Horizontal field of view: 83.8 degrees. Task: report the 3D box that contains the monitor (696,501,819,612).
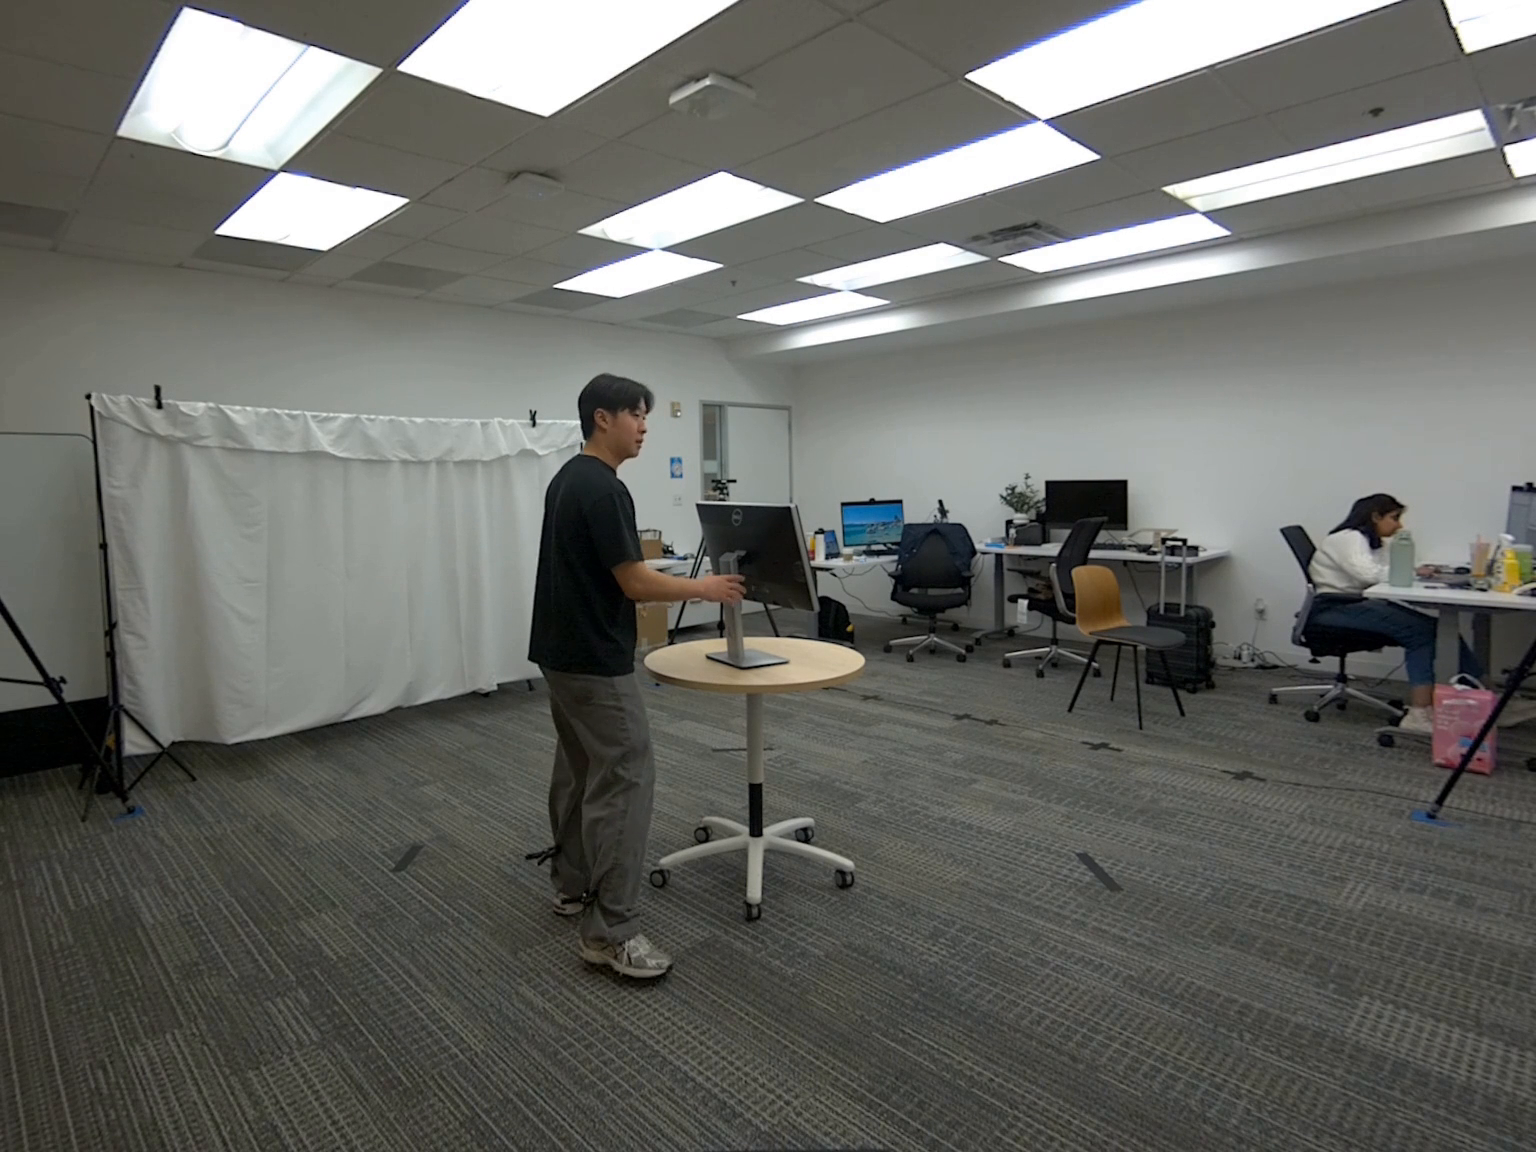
[{"bbox_3d":[-0.069,0.030,2.931,0.216,0.564,0.578,-2,5,-32],"label":"monitor"}]
